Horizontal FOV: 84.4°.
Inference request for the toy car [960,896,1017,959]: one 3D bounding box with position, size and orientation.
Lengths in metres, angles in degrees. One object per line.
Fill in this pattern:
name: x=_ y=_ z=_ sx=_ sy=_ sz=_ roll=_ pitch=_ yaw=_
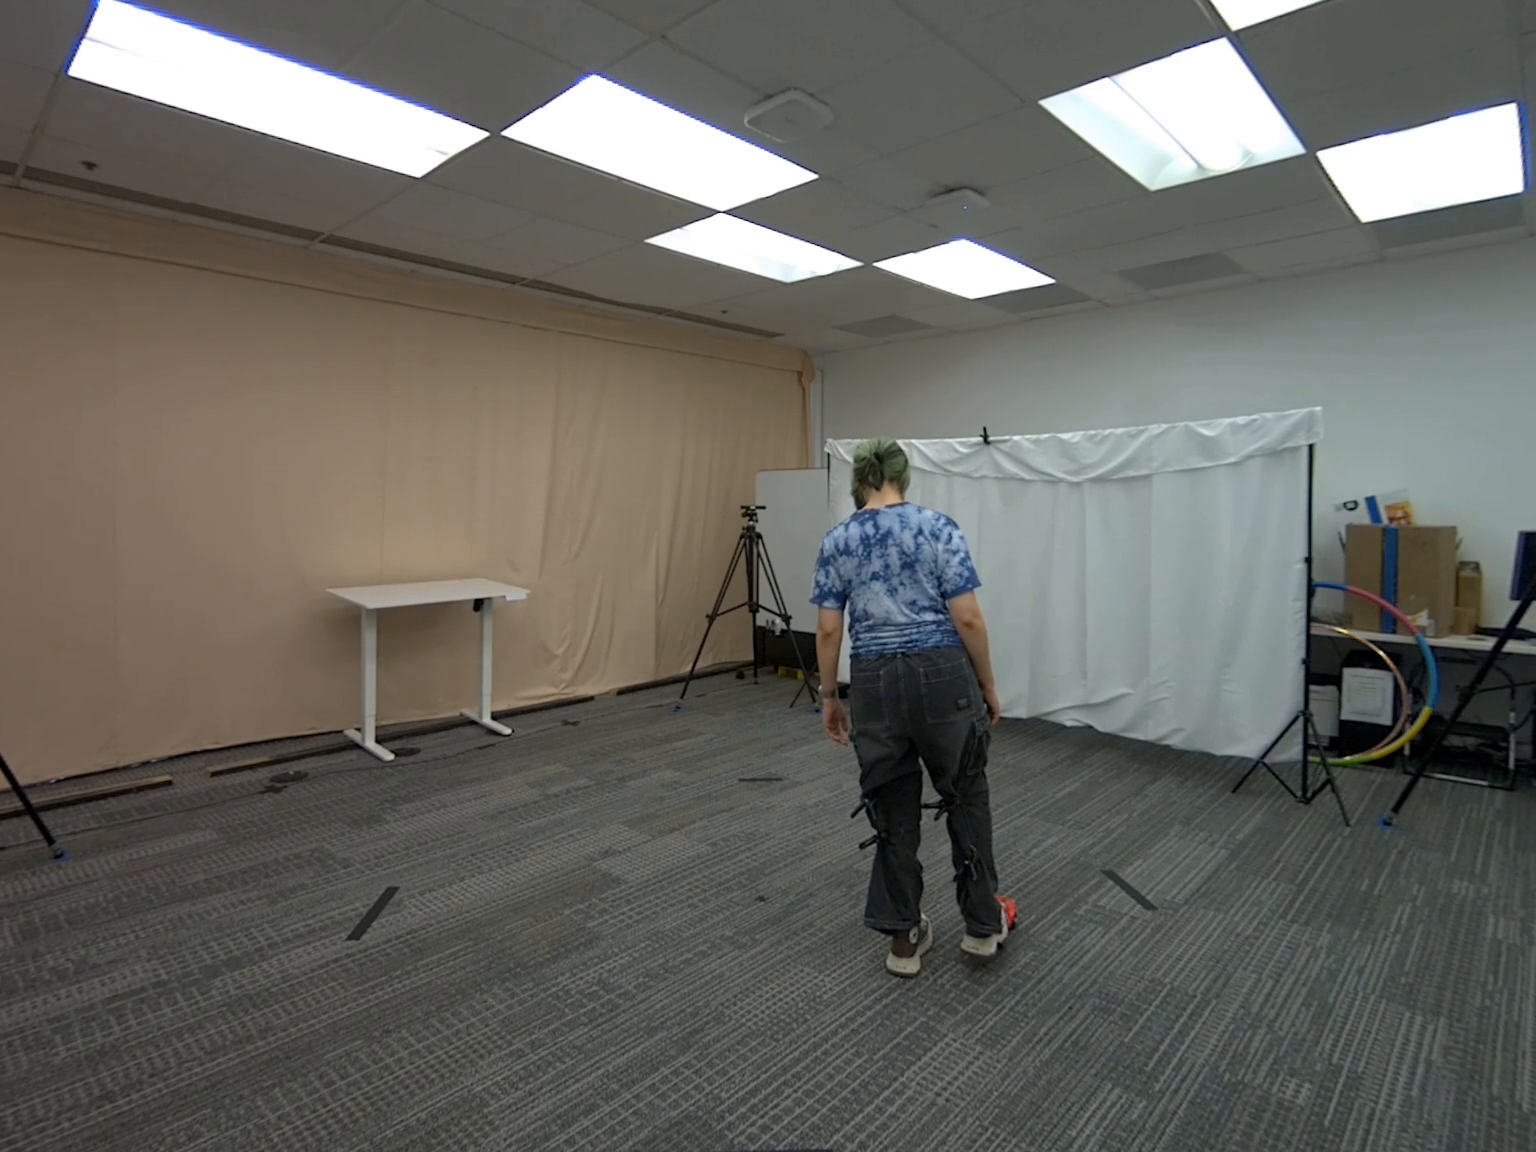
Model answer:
toy car: x=0.749 y=1.128 z=2.762 sx=0.134 sy=0.082 sz=0.250 roll=3 pitch=19 yaw=30
